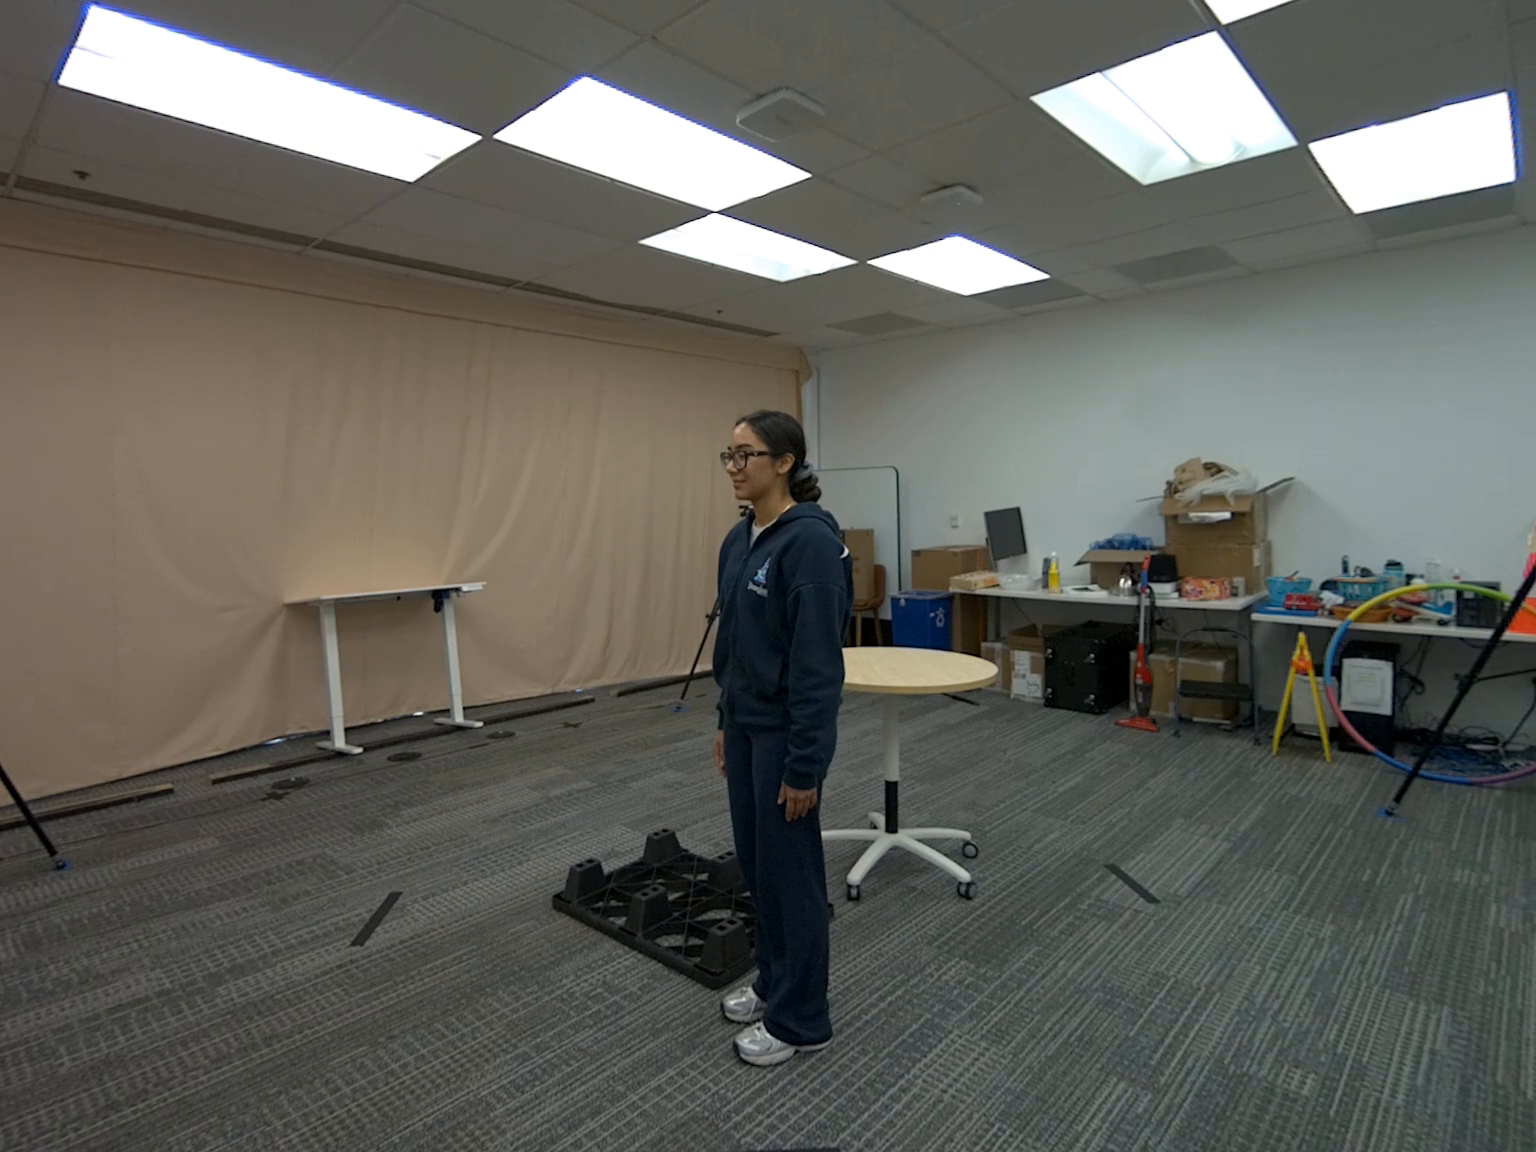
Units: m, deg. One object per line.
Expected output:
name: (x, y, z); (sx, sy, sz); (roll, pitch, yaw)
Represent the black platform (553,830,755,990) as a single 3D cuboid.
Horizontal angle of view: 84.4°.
black platform: (-0.259, 1.088, 2.895); (0.832, 0.143, 0.587); (3, 7, 41)
